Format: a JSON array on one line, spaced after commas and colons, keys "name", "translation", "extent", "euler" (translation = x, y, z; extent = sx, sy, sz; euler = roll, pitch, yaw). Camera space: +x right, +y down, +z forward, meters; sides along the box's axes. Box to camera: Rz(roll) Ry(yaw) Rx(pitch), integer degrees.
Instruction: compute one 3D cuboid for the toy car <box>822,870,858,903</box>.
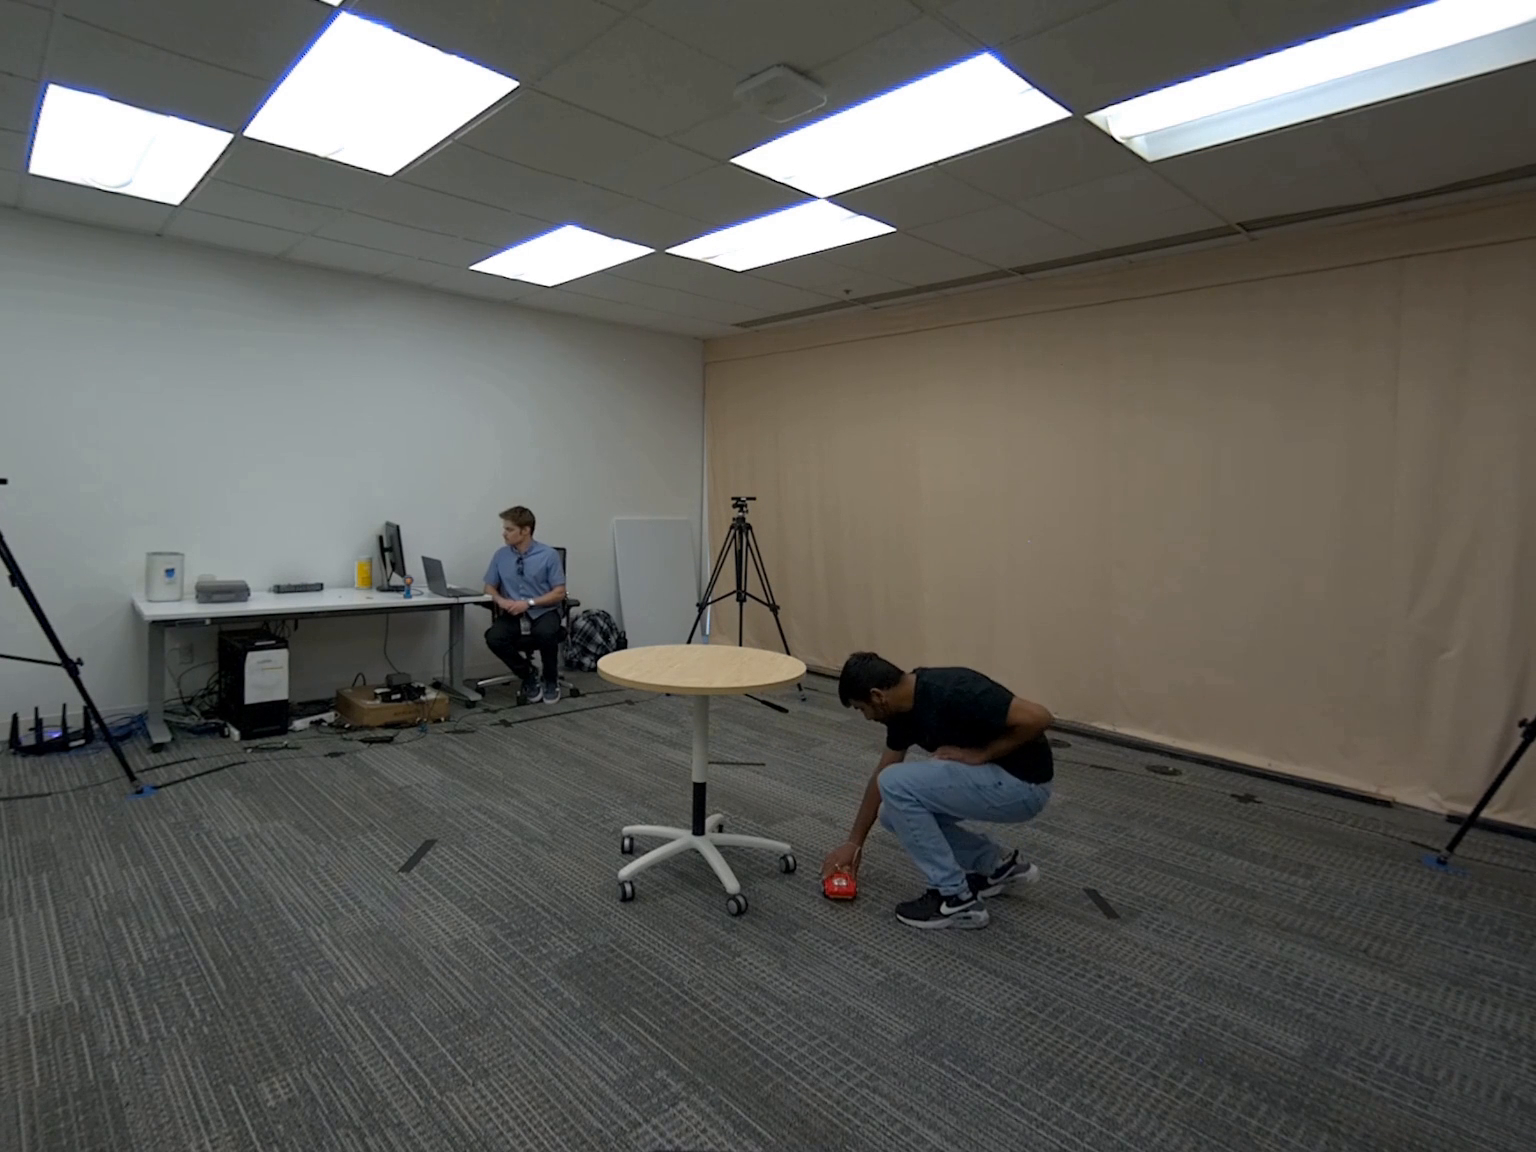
[{"name": "toy car", "translation": [0.248, 1.085, 3.000], "extent": [0.131, 0.083, 0.252], "euler": [2, -7, 2]}]
